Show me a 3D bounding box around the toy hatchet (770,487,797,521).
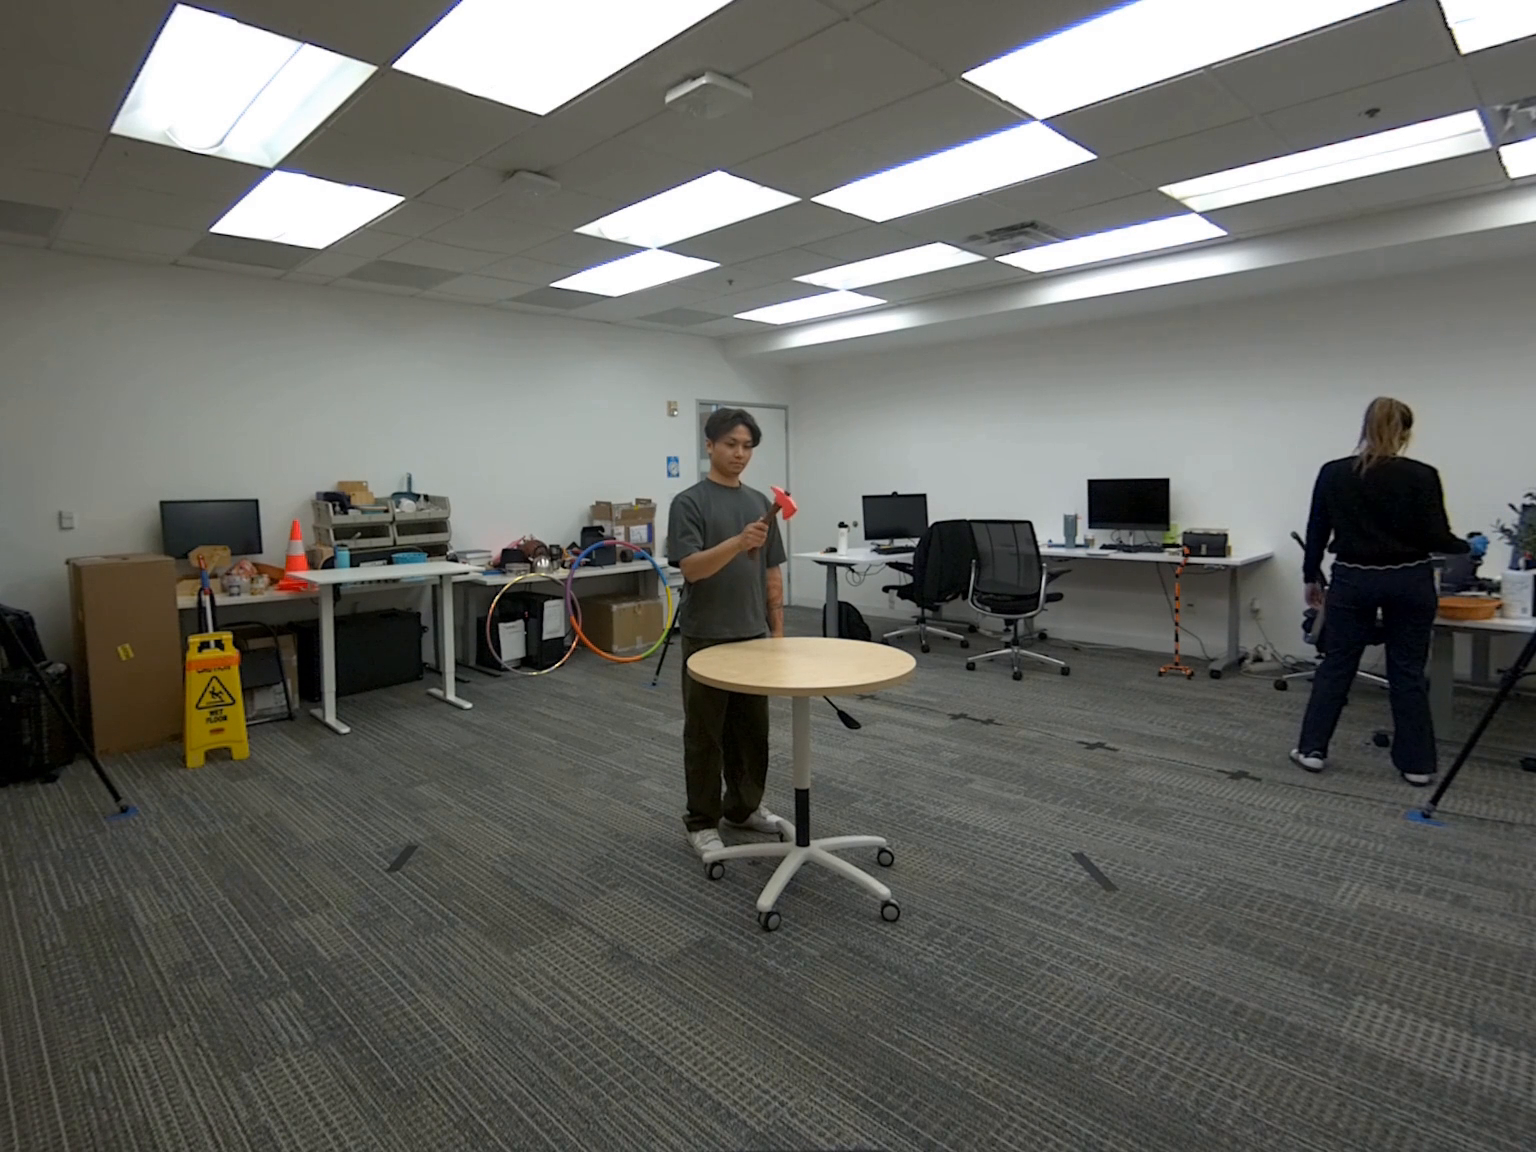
[{"bbox_3d":[0.020,-0.167,2.897,0.136,0.268,0.029,28,13,32],"label":"toy hatchet"}]
